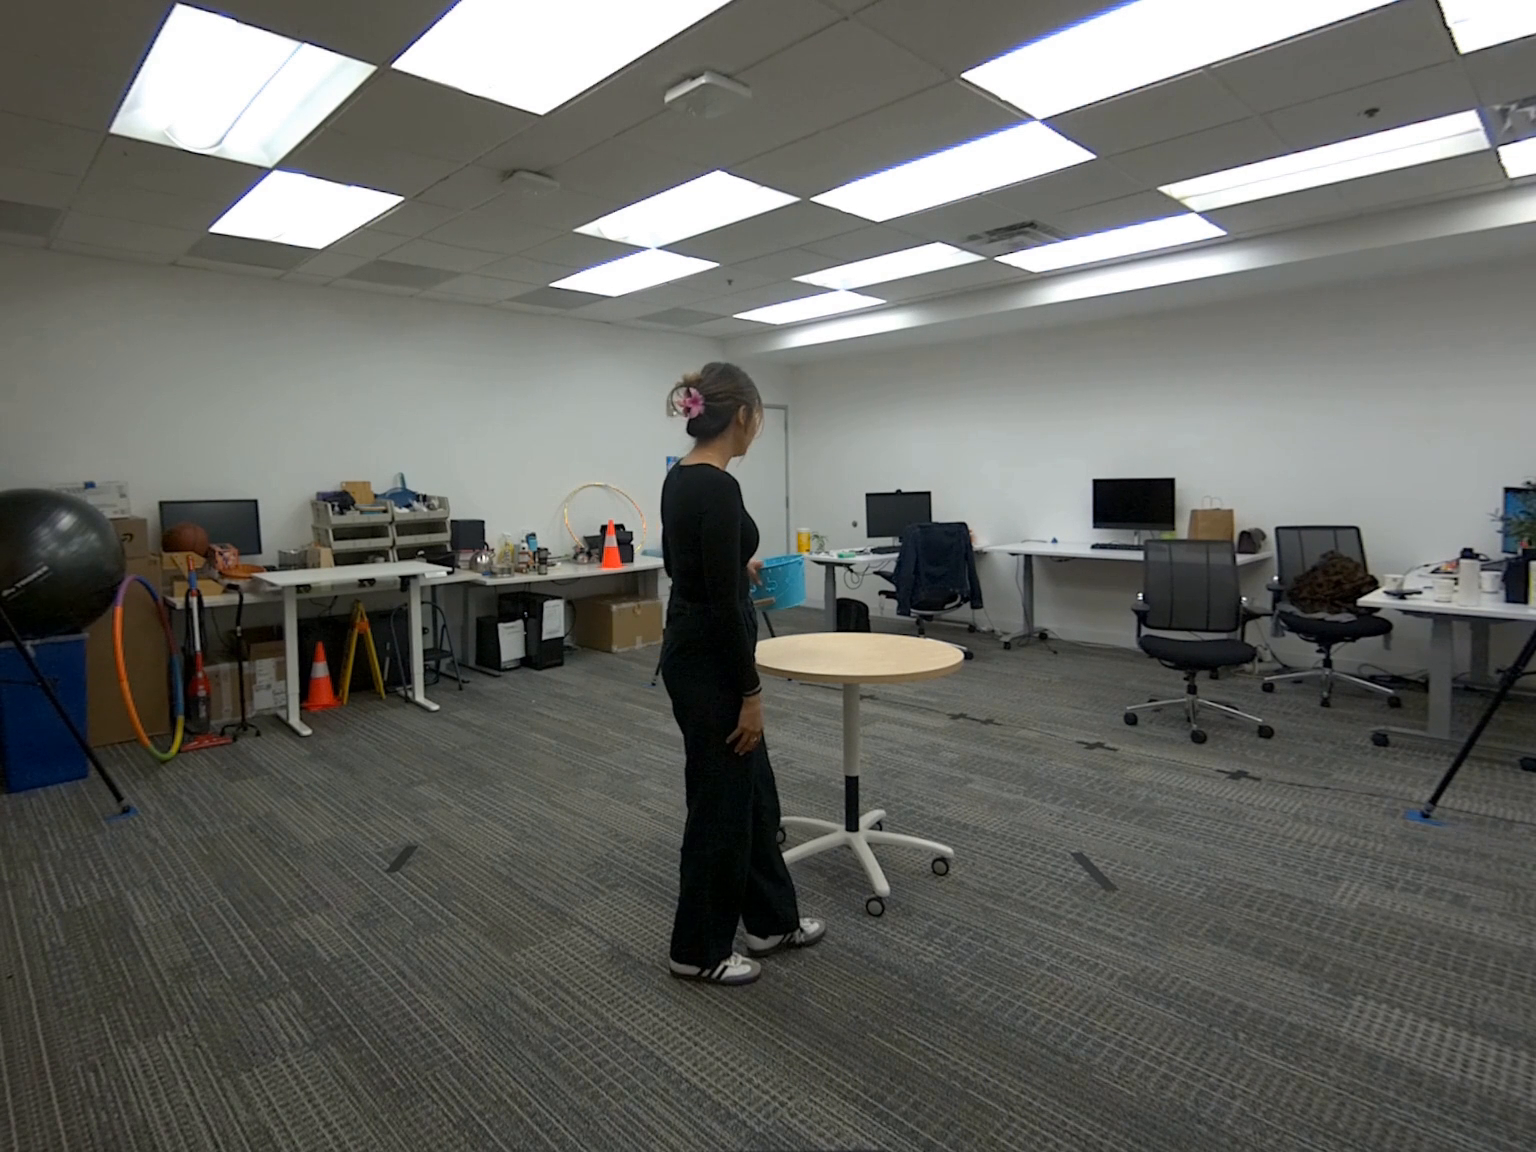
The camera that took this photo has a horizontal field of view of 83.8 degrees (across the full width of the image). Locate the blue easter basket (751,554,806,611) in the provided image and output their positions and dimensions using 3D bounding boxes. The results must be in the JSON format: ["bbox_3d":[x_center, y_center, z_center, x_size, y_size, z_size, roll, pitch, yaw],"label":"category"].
[{"bbox_3d":[0.023,0.025,2.895,0.243,0.155,0.245,-9,6,-1],"label":"blue easter basket"}]
